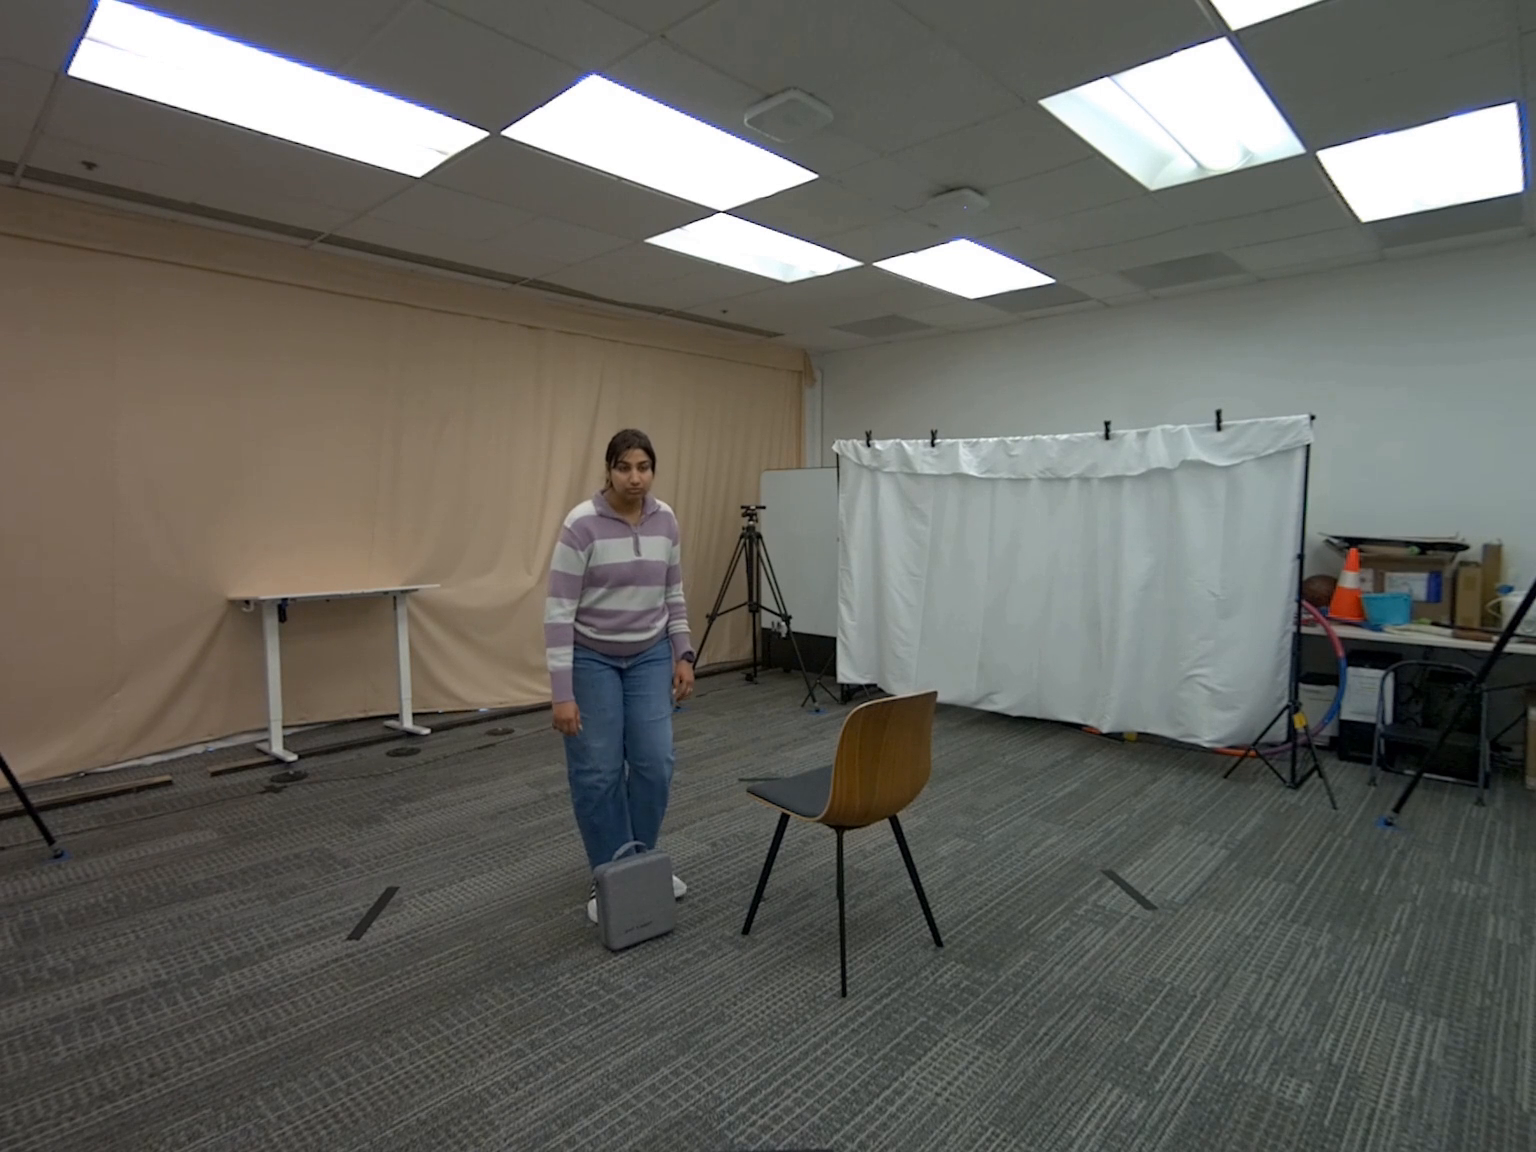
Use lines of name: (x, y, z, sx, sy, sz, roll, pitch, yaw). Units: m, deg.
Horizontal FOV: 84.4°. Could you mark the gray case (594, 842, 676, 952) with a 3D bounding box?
gray case: (-0.423, 1.032, 2.721, 0.250, 0.261, 0.107, -4, -2, -33)
